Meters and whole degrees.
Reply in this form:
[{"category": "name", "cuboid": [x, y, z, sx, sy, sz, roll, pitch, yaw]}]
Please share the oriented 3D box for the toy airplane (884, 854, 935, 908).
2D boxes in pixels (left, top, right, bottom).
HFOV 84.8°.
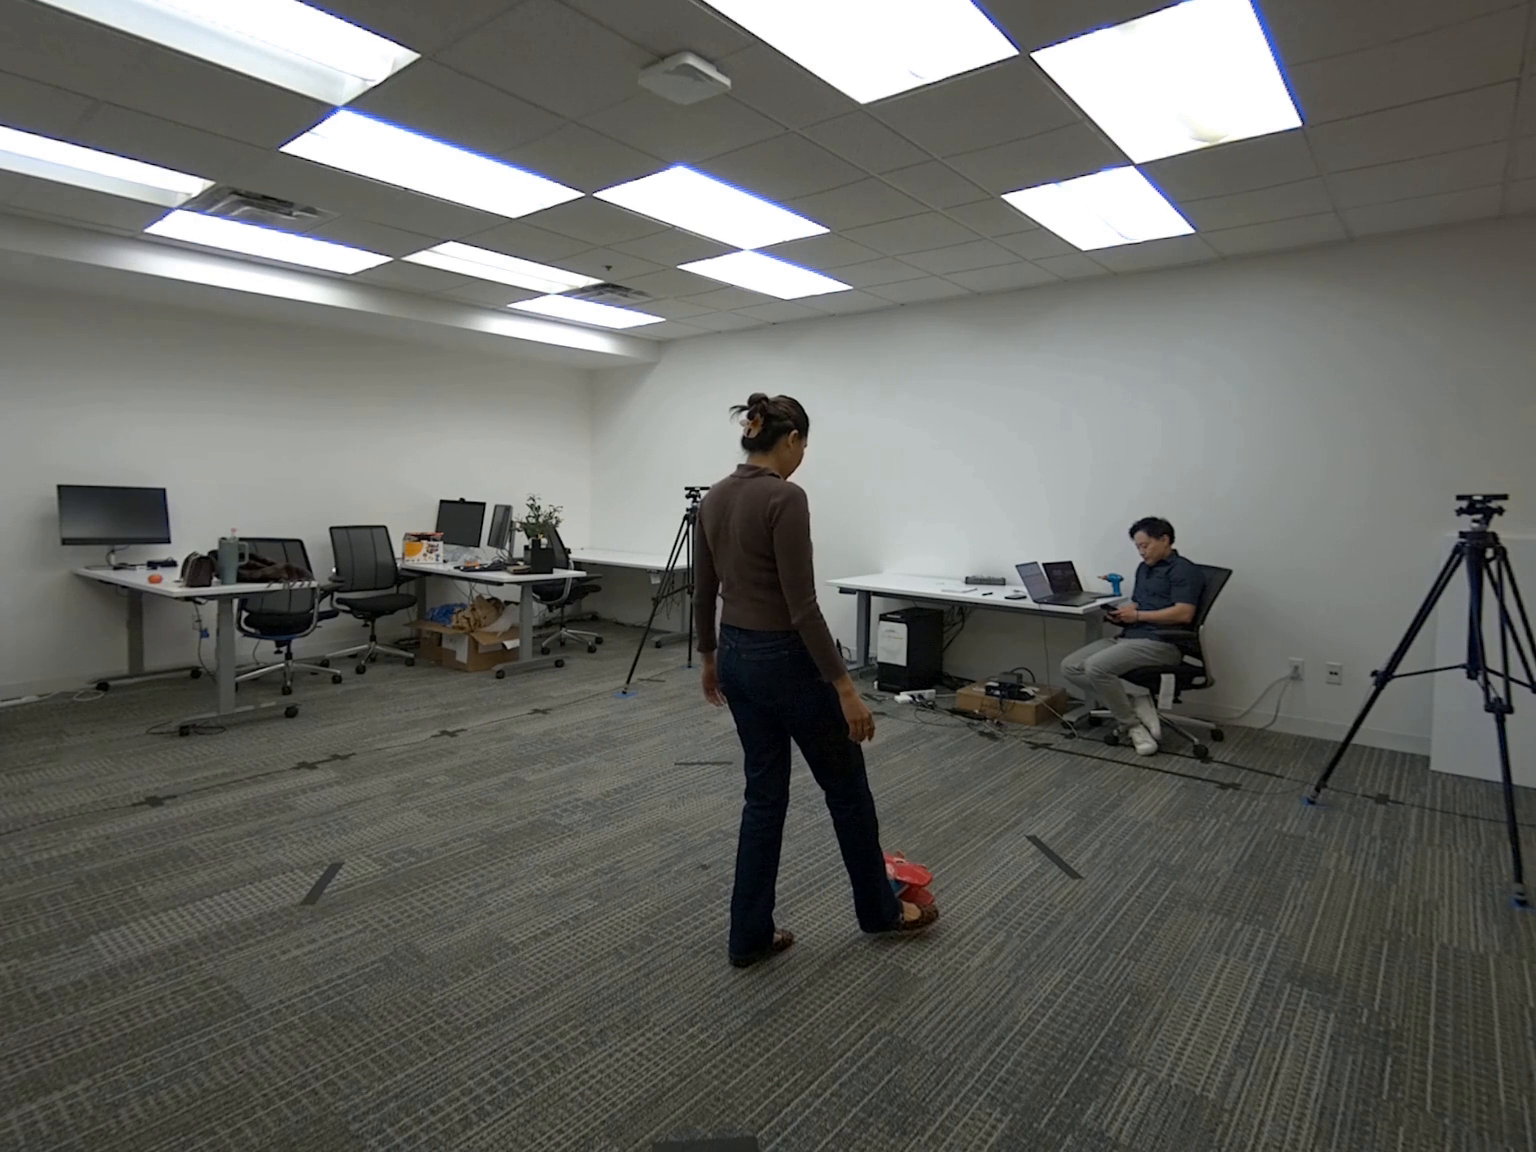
[{"category": "toy airplane", "cuboid": [0.414, 1.030, 2.798, 0.256, 0.156, 0.255, 3, 3, 16]}]
